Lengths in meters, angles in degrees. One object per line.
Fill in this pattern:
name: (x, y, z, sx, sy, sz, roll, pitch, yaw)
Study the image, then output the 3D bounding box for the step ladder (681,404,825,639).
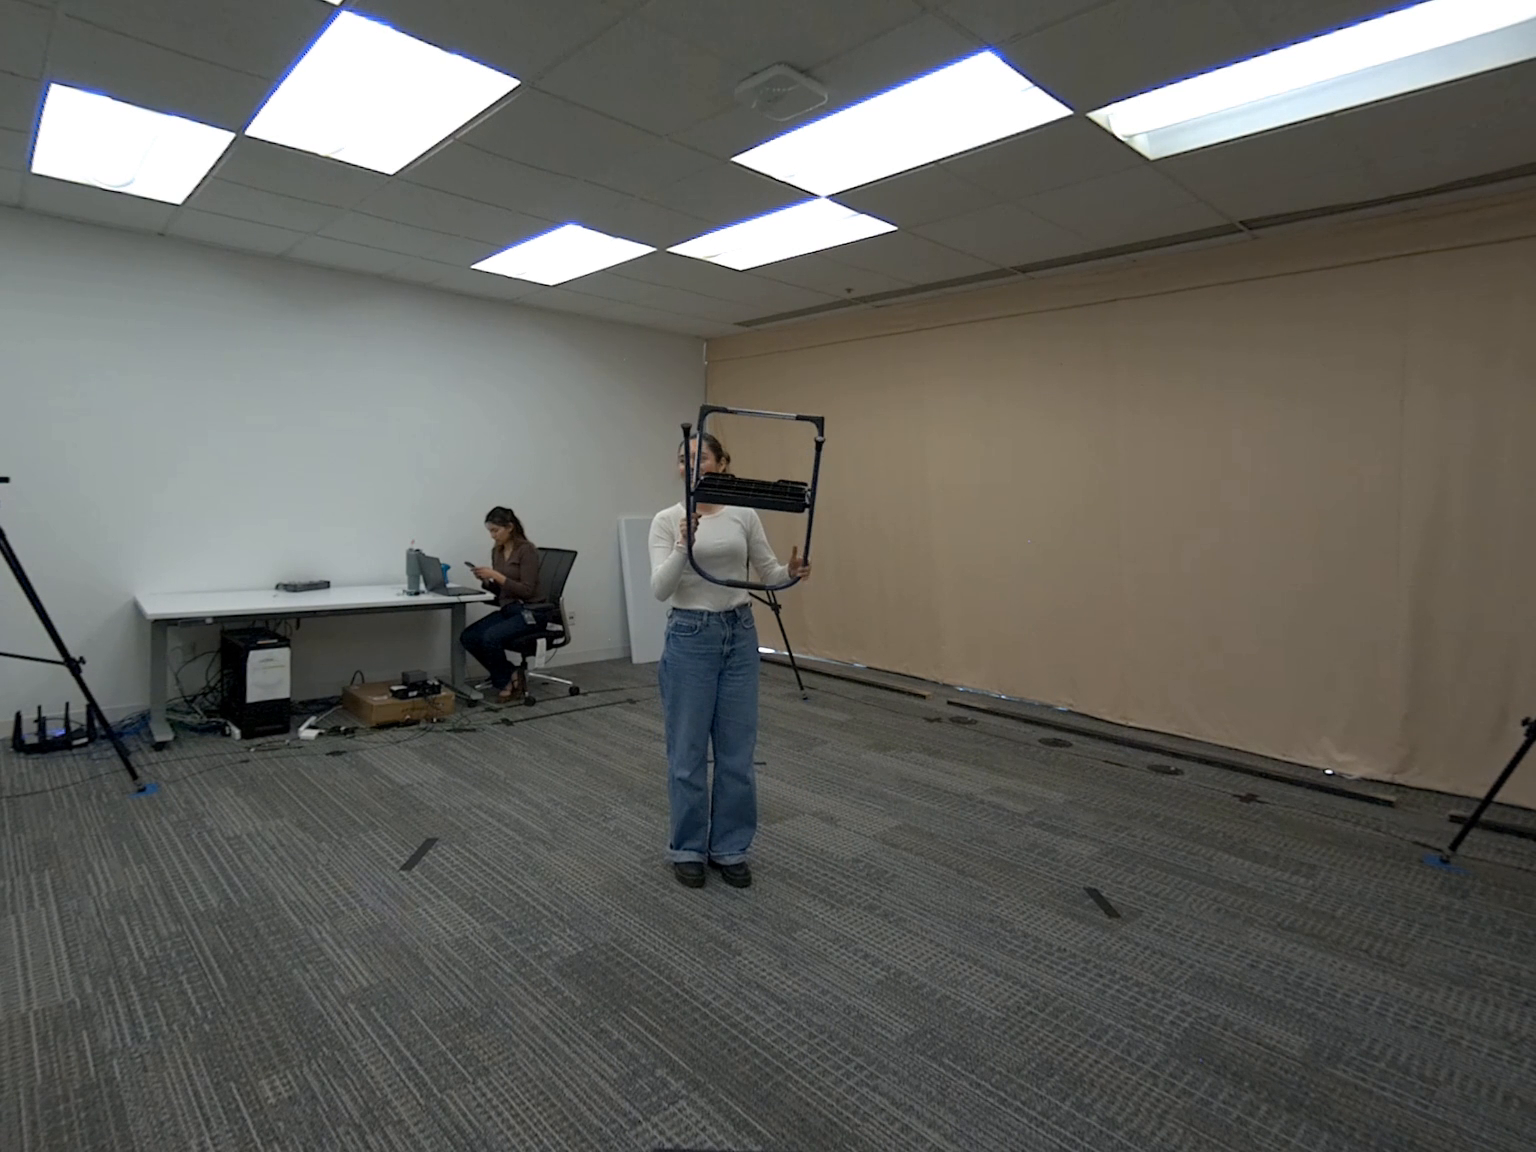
step ladder: (-0.069, -0.206, 2.716, 0.433, 0.598, 0.352, 9, 23, 5)
